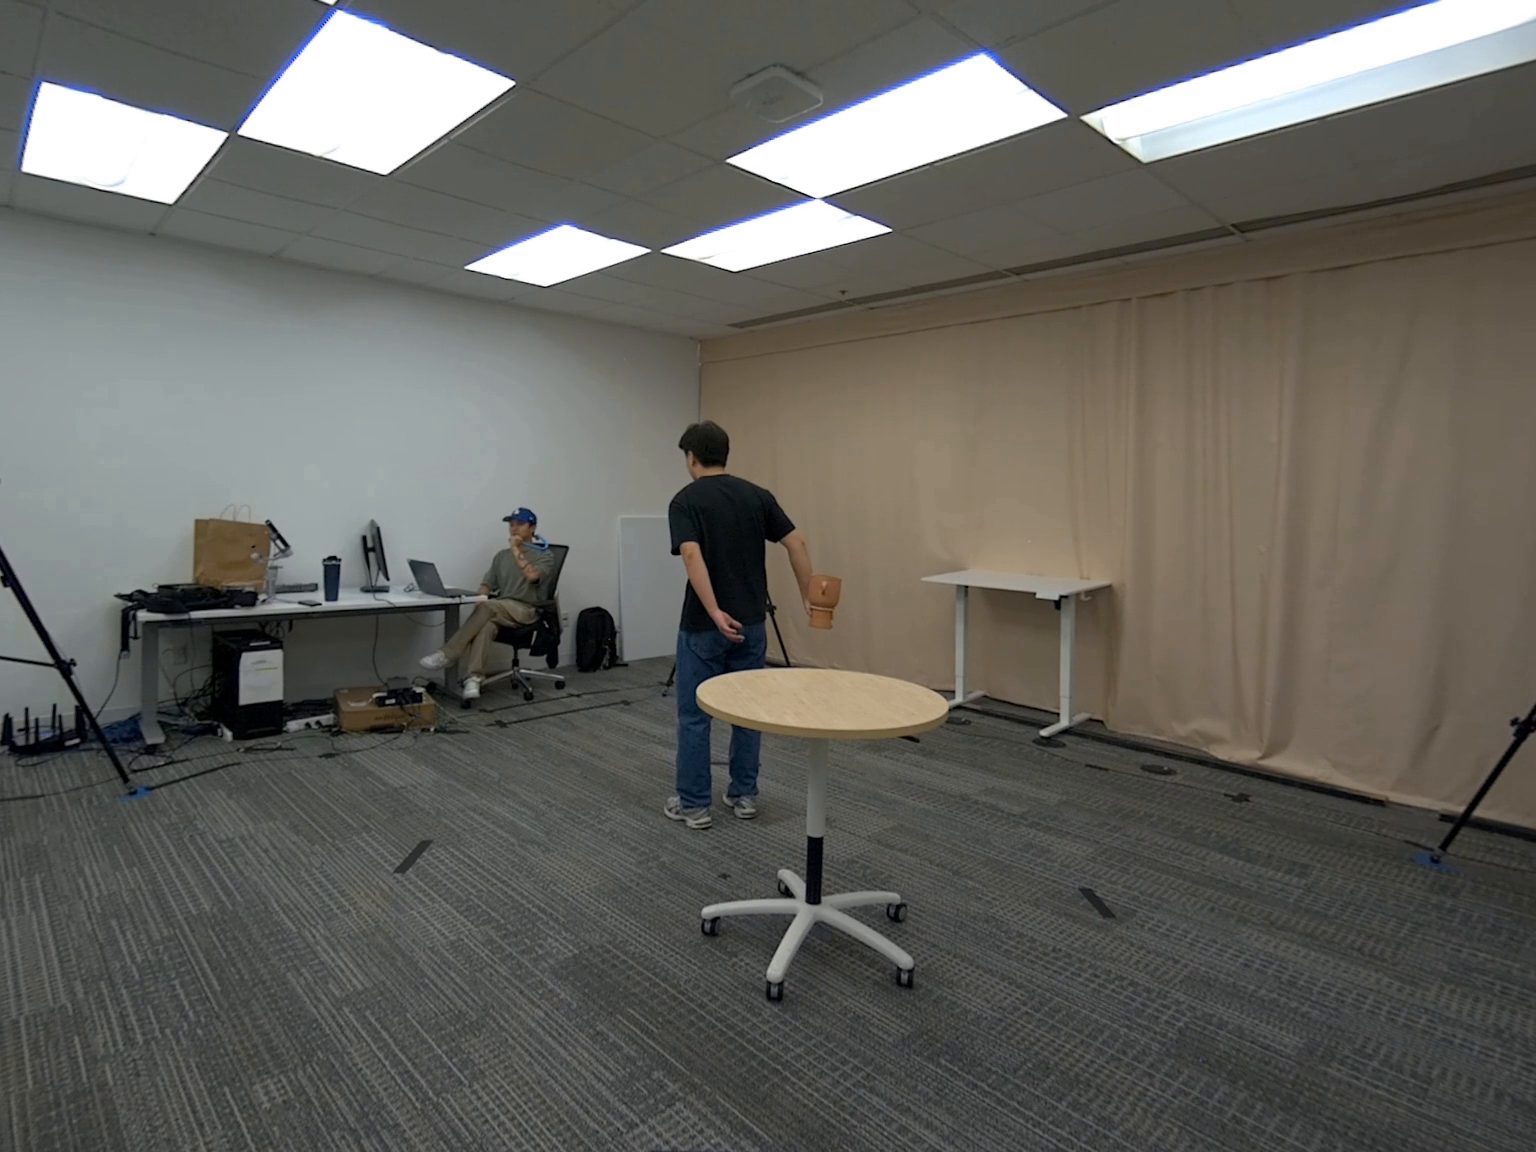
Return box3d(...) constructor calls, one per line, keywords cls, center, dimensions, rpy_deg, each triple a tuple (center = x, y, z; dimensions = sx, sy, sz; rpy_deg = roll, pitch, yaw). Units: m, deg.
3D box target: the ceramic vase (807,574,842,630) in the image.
box3d(cls="ceramic vase", center=(0.219, 0.105, 3.608), dimensions=(0.138, 0.219, 0.155), rpy_deg=(9, 3, 44))
